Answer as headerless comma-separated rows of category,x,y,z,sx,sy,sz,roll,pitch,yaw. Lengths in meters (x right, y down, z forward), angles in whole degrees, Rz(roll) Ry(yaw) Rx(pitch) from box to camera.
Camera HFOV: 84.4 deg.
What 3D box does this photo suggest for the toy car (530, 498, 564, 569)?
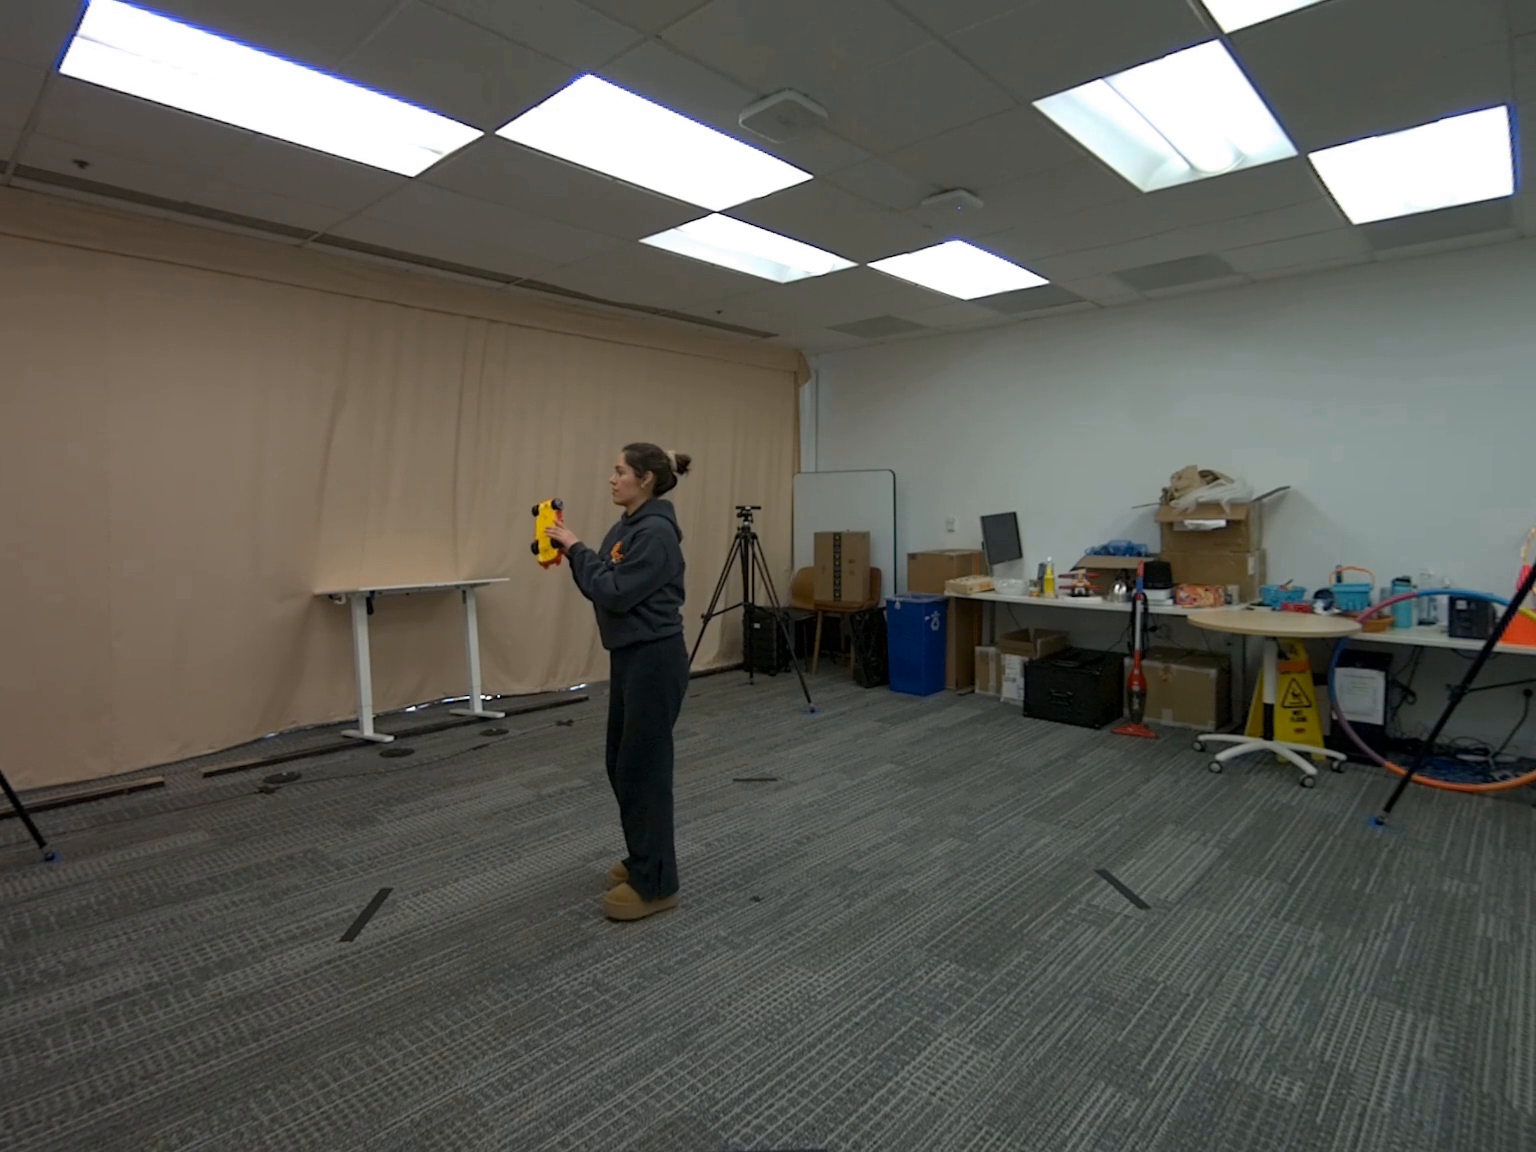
toy car,-0.763,-0.143,2.982,0.132,0.257,0.081,-16,-15,20
